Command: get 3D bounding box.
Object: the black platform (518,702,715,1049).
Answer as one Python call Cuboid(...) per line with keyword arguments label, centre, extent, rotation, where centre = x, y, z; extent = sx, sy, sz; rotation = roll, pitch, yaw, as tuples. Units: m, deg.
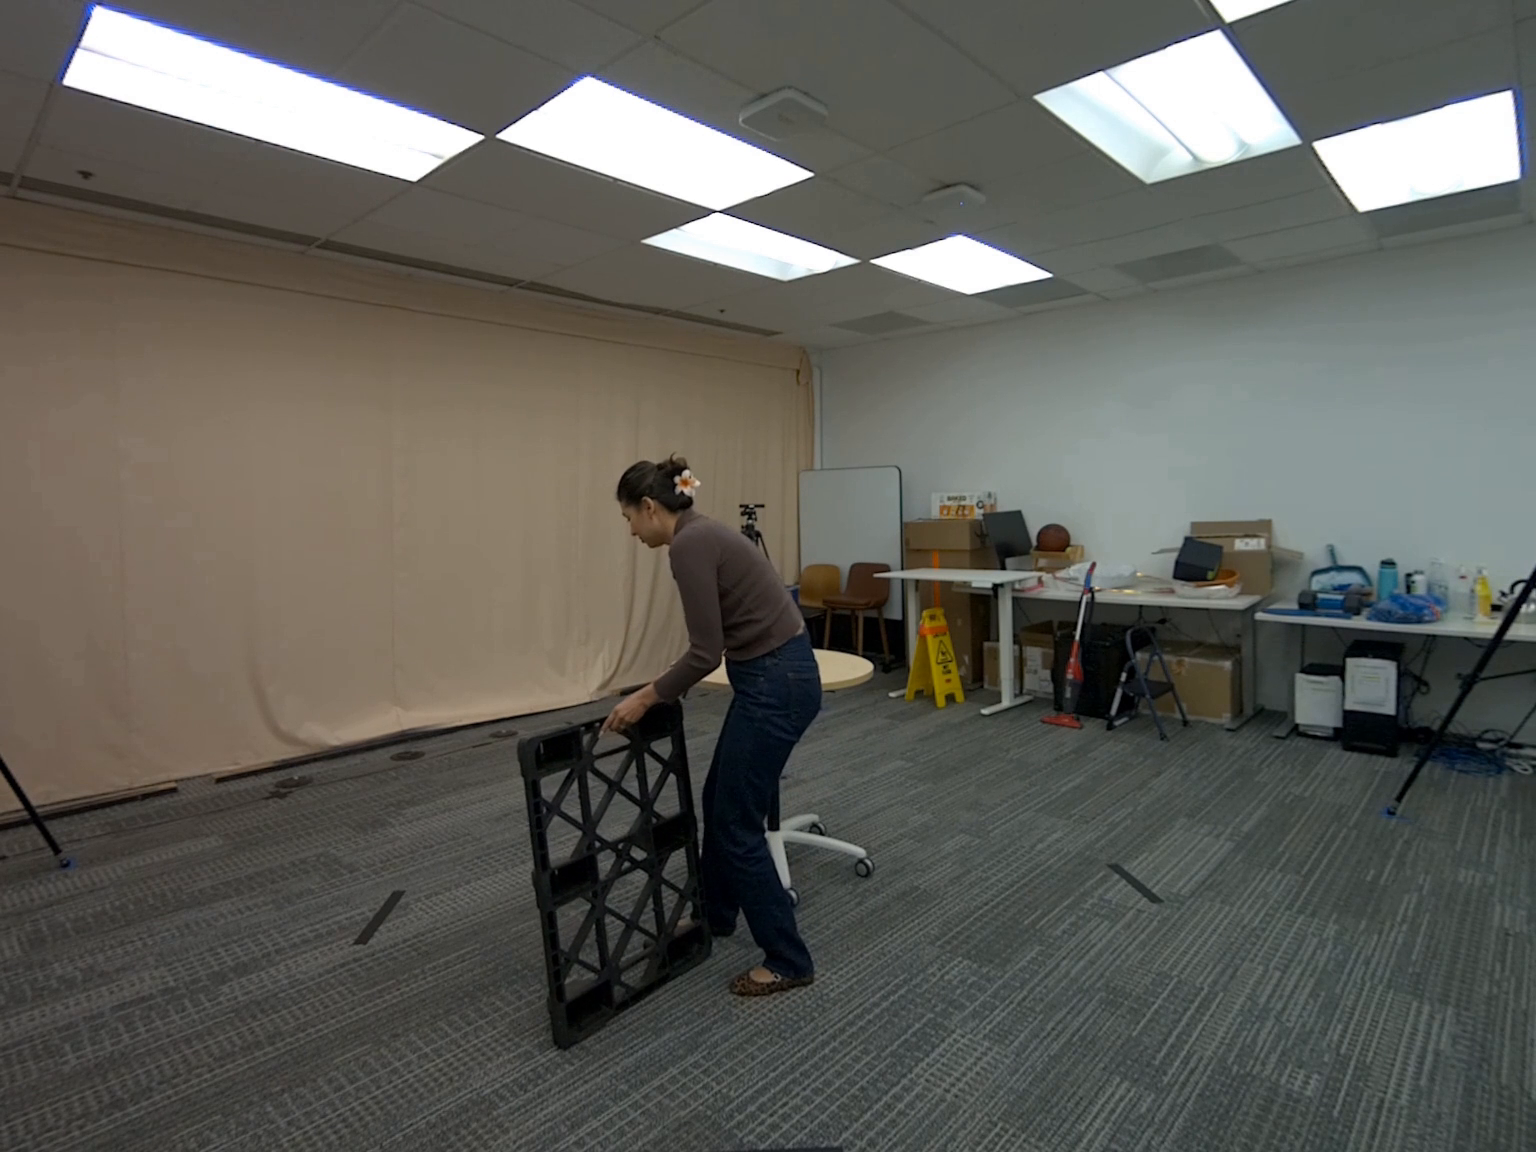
Cuboid(label="black platform", centre=(-0.446, 0.807, 2.429), extent=(0.147, 0.807, 0.587), rotation=(-9, -2, 39))
